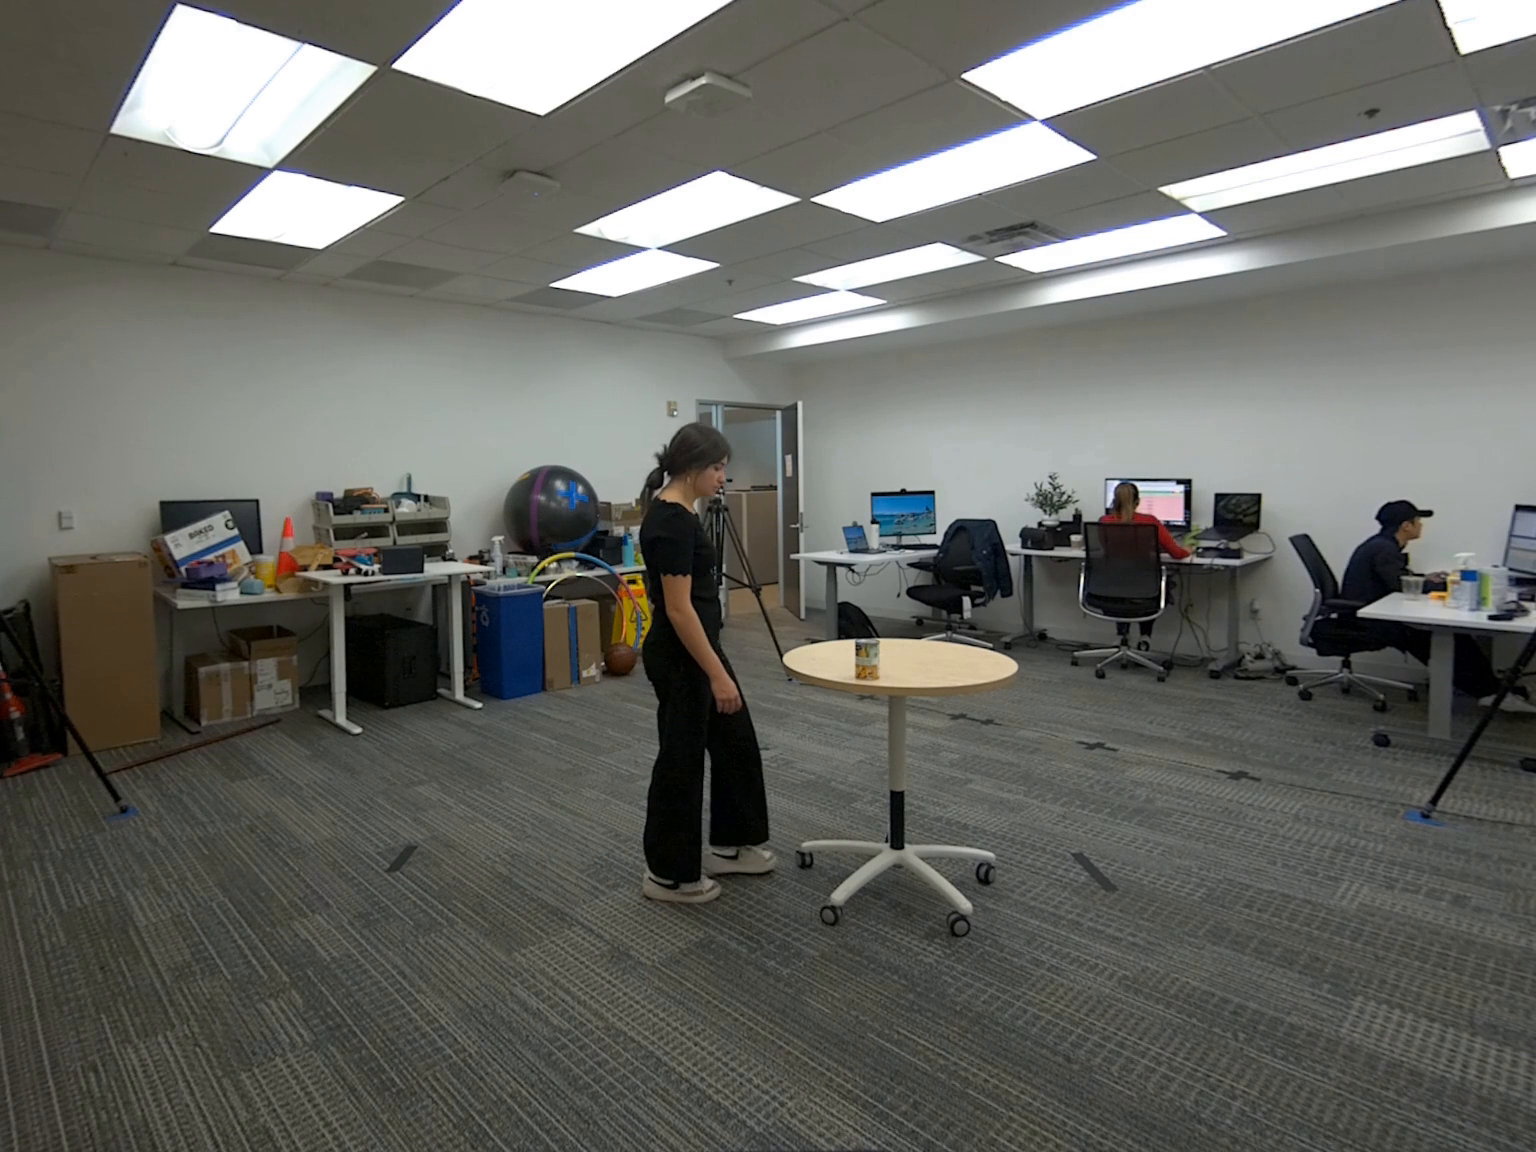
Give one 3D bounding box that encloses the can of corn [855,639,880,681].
[{"bbox_3d":[0.305,0.254,2.598,0.074,0.110,0.075,0,7,-2],"label":"can of corn"}]
